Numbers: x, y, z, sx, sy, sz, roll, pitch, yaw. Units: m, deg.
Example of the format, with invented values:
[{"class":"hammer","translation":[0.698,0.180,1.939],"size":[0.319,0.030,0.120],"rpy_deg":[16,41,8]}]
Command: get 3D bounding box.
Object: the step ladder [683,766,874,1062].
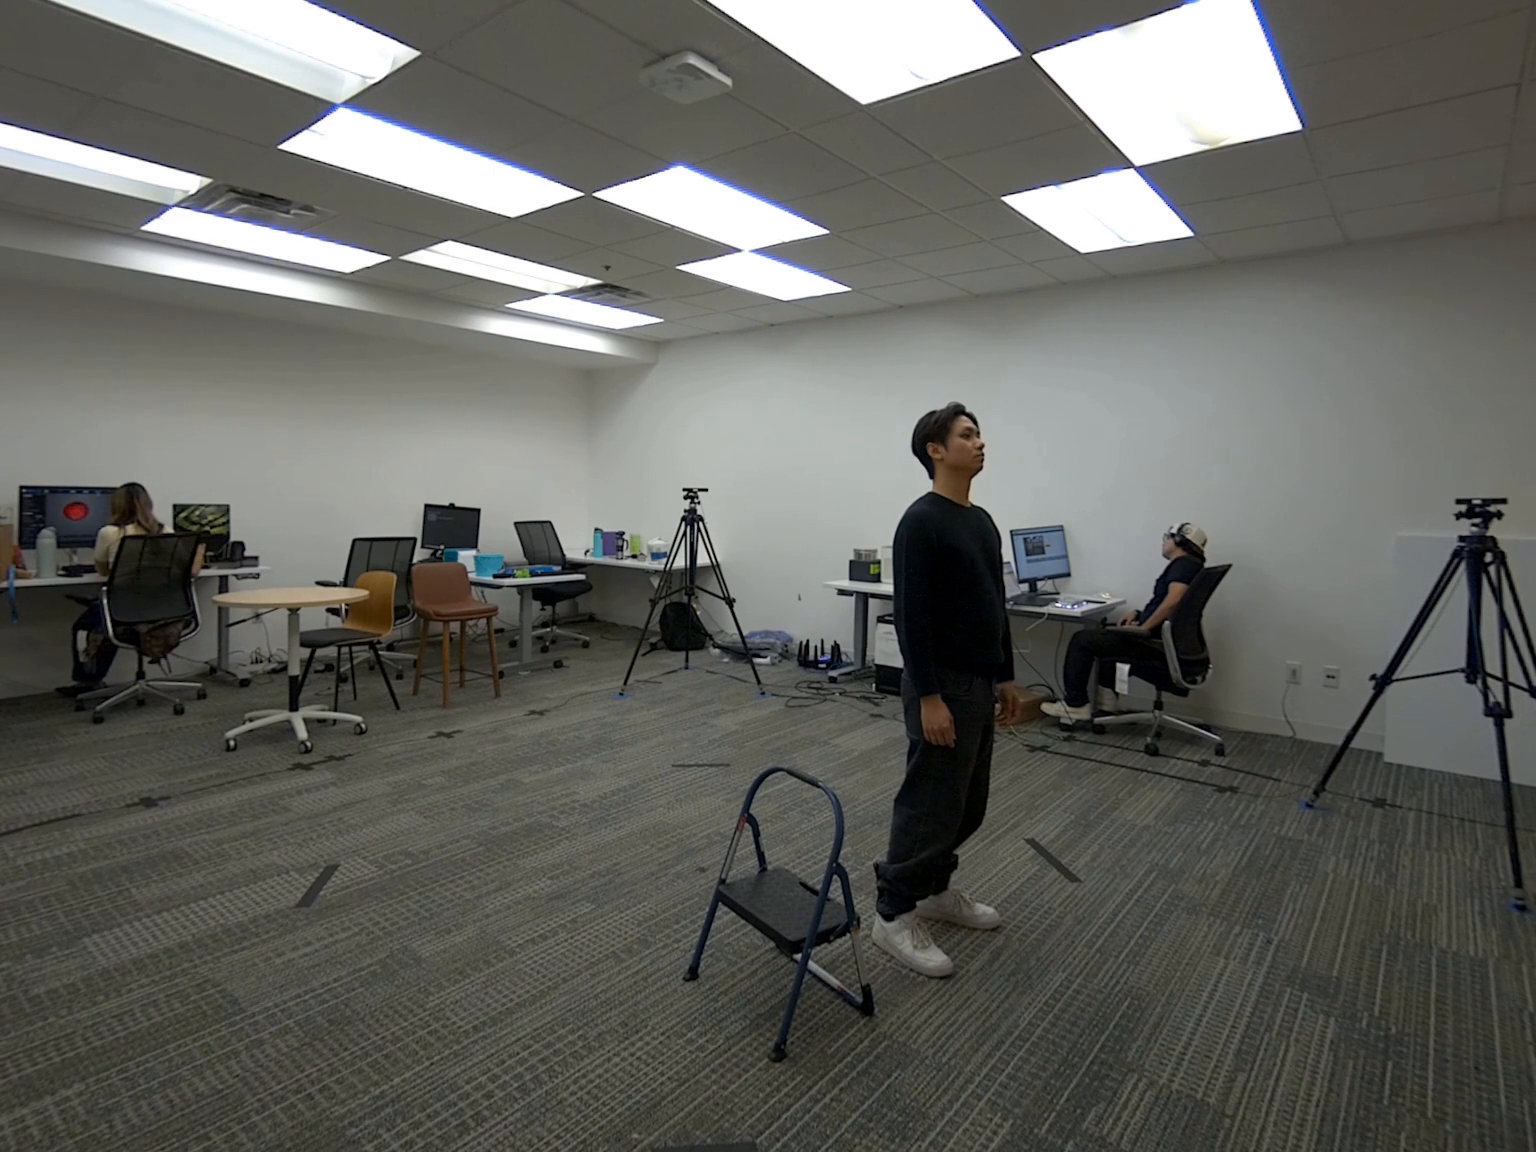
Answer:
[{"class":"step ladder","translation":[0.029,0.847,2.324],"size":[0.339,0.604,0.445],"rpy_deg":[-1,5,-36]}]
